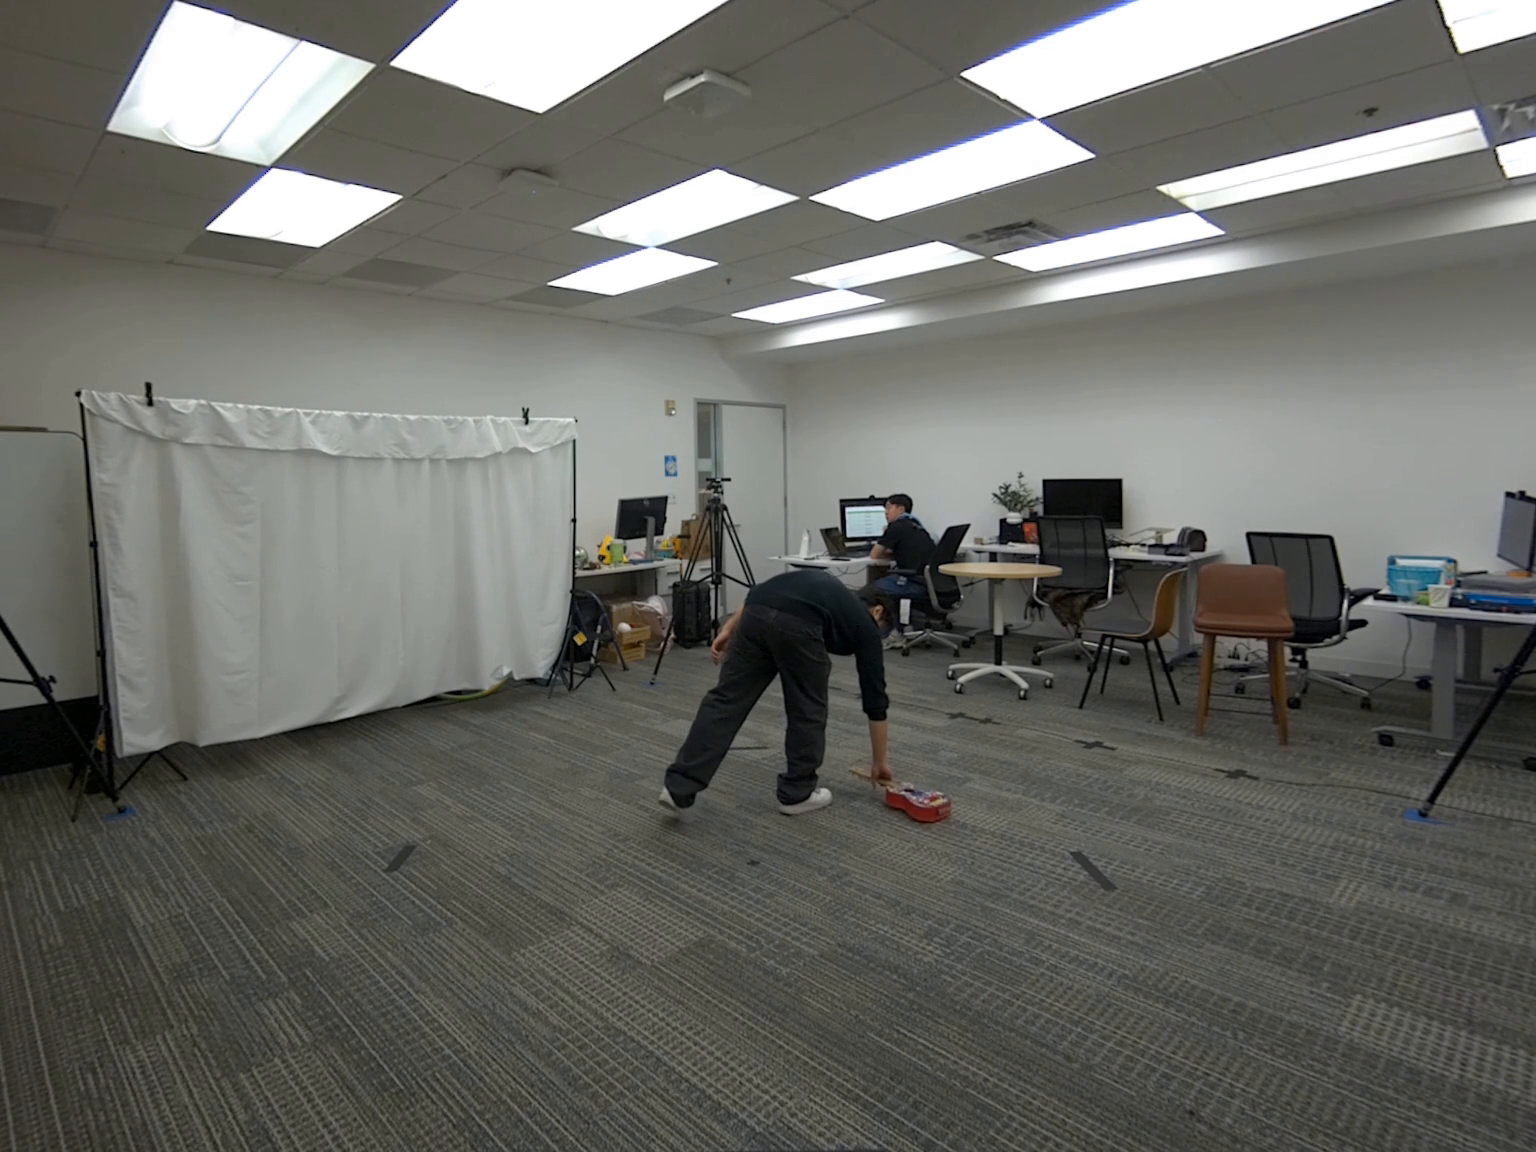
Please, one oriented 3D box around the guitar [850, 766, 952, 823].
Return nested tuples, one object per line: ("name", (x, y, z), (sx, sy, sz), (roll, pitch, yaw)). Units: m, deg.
("guitar", (0.559, 0.910, 3.653), (0.188, 0.070, 0.513), (-3, 9, -33))
